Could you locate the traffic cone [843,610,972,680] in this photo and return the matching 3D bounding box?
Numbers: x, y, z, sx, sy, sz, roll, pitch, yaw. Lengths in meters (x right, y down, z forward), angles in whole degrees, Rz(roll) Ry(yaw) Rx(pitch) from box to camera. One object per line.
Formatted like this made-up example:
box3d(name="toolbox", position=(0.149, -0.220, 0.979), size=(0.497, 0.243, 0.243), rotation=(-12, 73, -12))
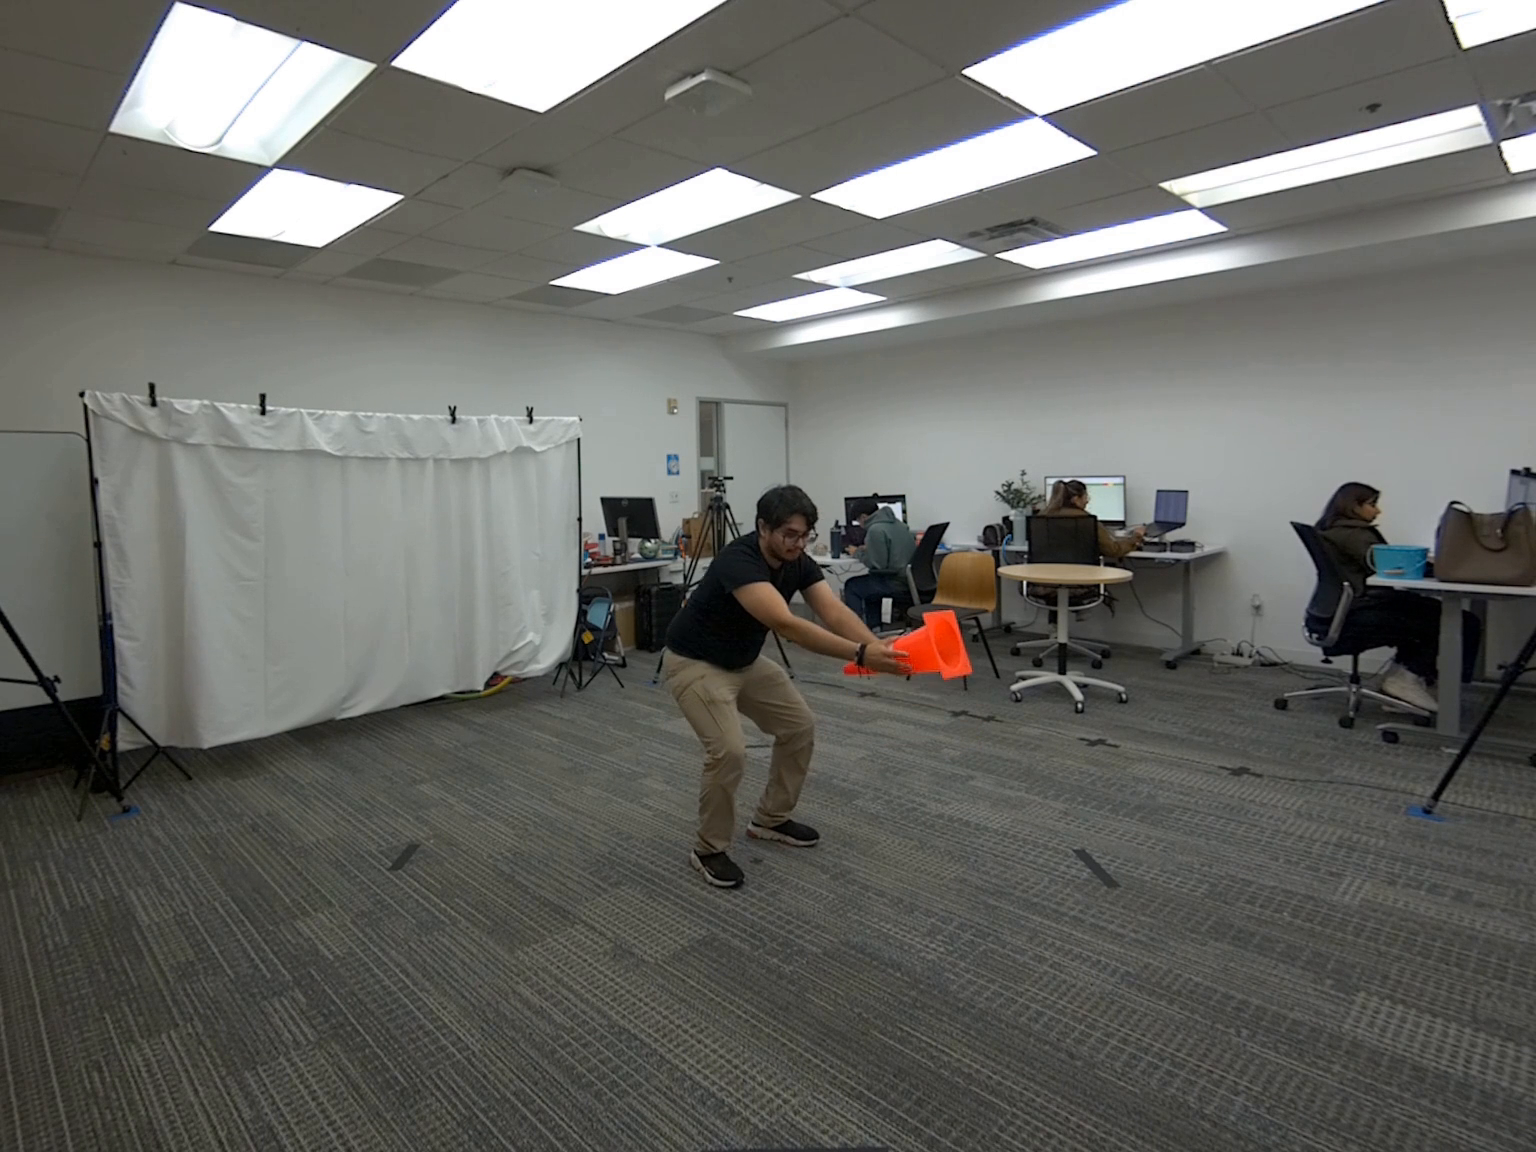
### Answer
box3d(name="traffic cone", position=(0.406, 0.256, 2.675), size=(0.390, 0.205, 0.199), rotation=(-20, -11, 38))
